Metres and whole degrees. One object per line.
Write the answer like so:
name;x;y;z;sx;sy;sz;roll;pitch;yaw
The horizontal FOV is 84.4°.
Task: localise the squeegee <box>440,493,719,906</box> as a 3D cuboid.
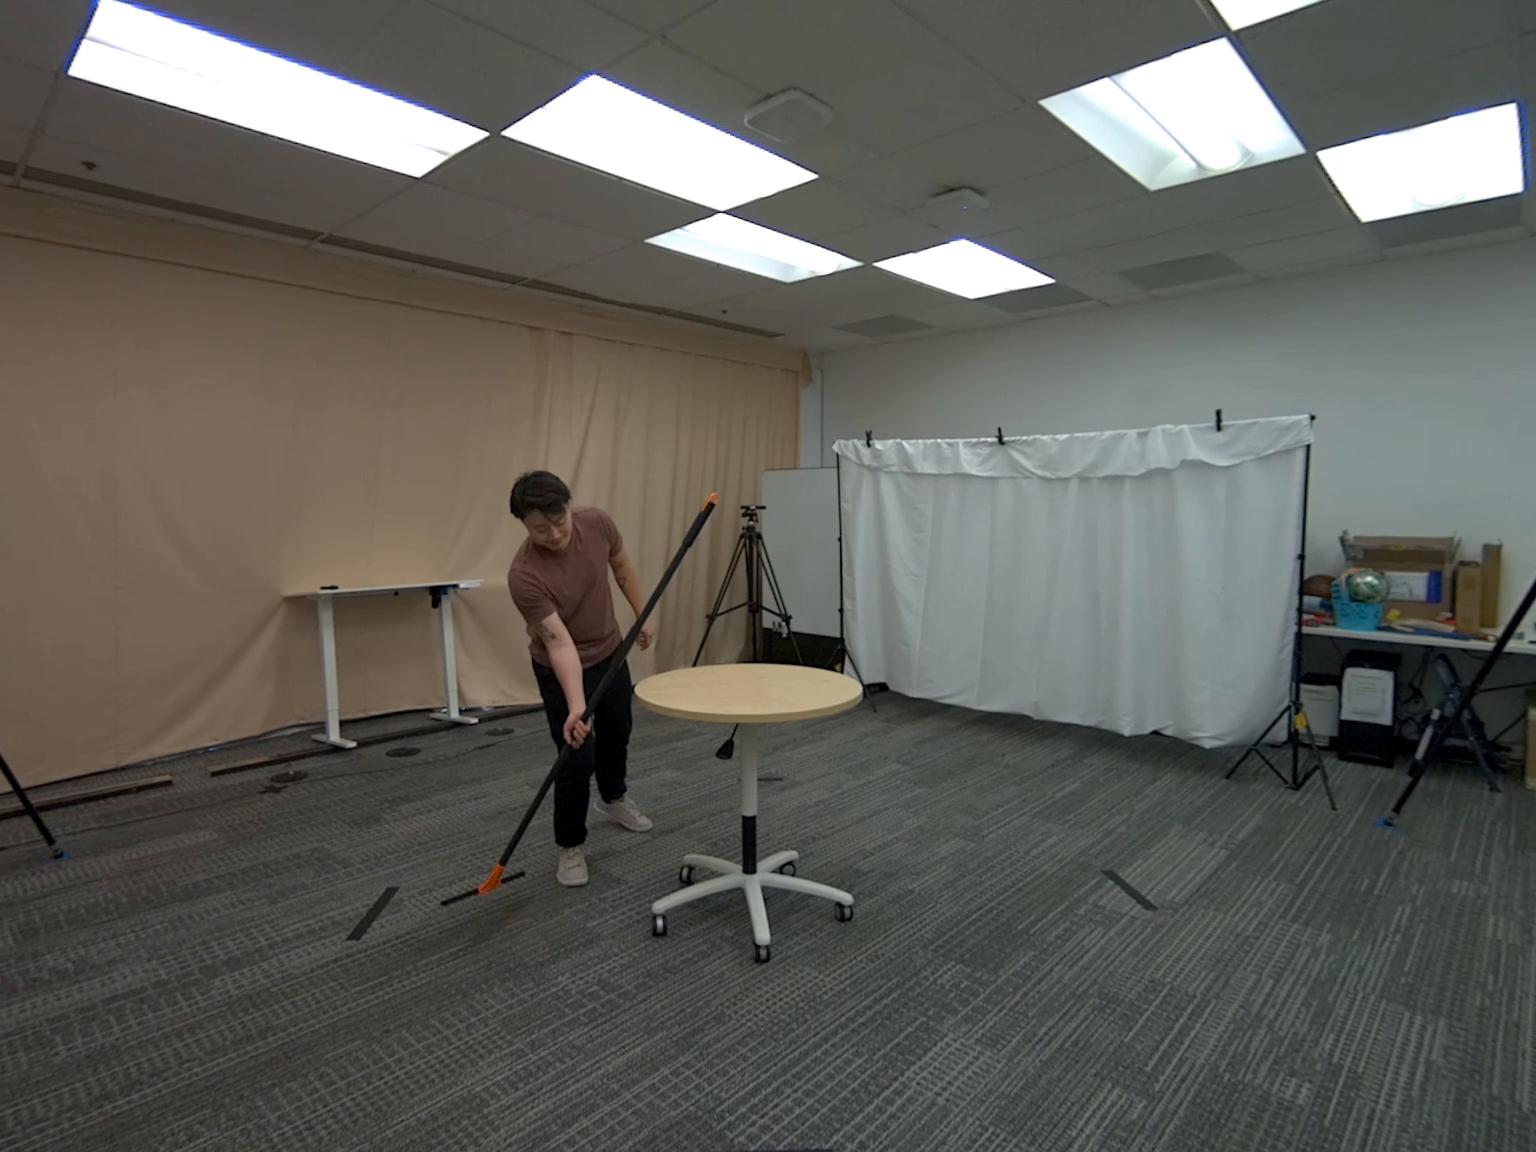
squeegee;-0.565;0.405;2.753;0.054;1.537;0.426;33;4;20
